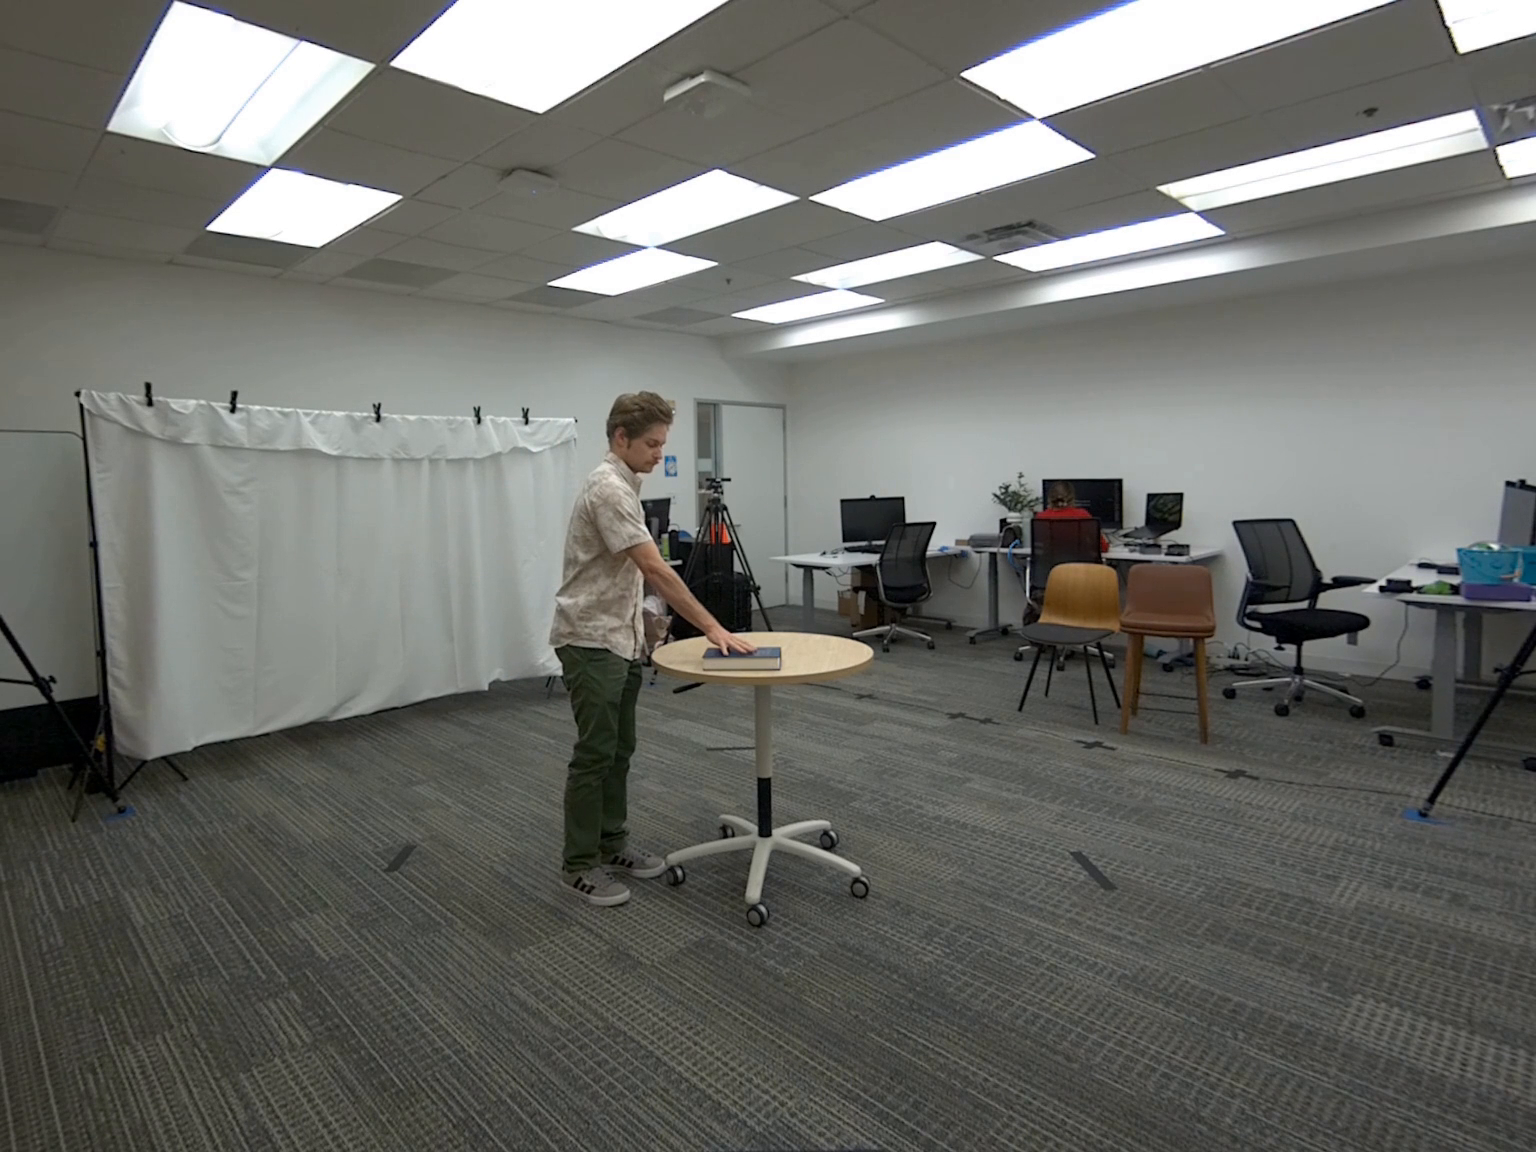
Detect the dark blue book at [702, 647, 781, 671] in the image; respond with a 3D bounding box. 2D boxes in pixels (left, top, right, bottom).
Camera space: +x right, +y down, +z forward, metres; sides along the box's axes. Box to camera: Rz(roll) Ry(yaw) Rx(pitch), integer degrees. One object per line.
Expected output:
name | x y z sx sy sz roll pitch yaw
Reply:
dark blue book | -0.078 0.262 2.755 0.247 0.045 0.163 -1 6 6
